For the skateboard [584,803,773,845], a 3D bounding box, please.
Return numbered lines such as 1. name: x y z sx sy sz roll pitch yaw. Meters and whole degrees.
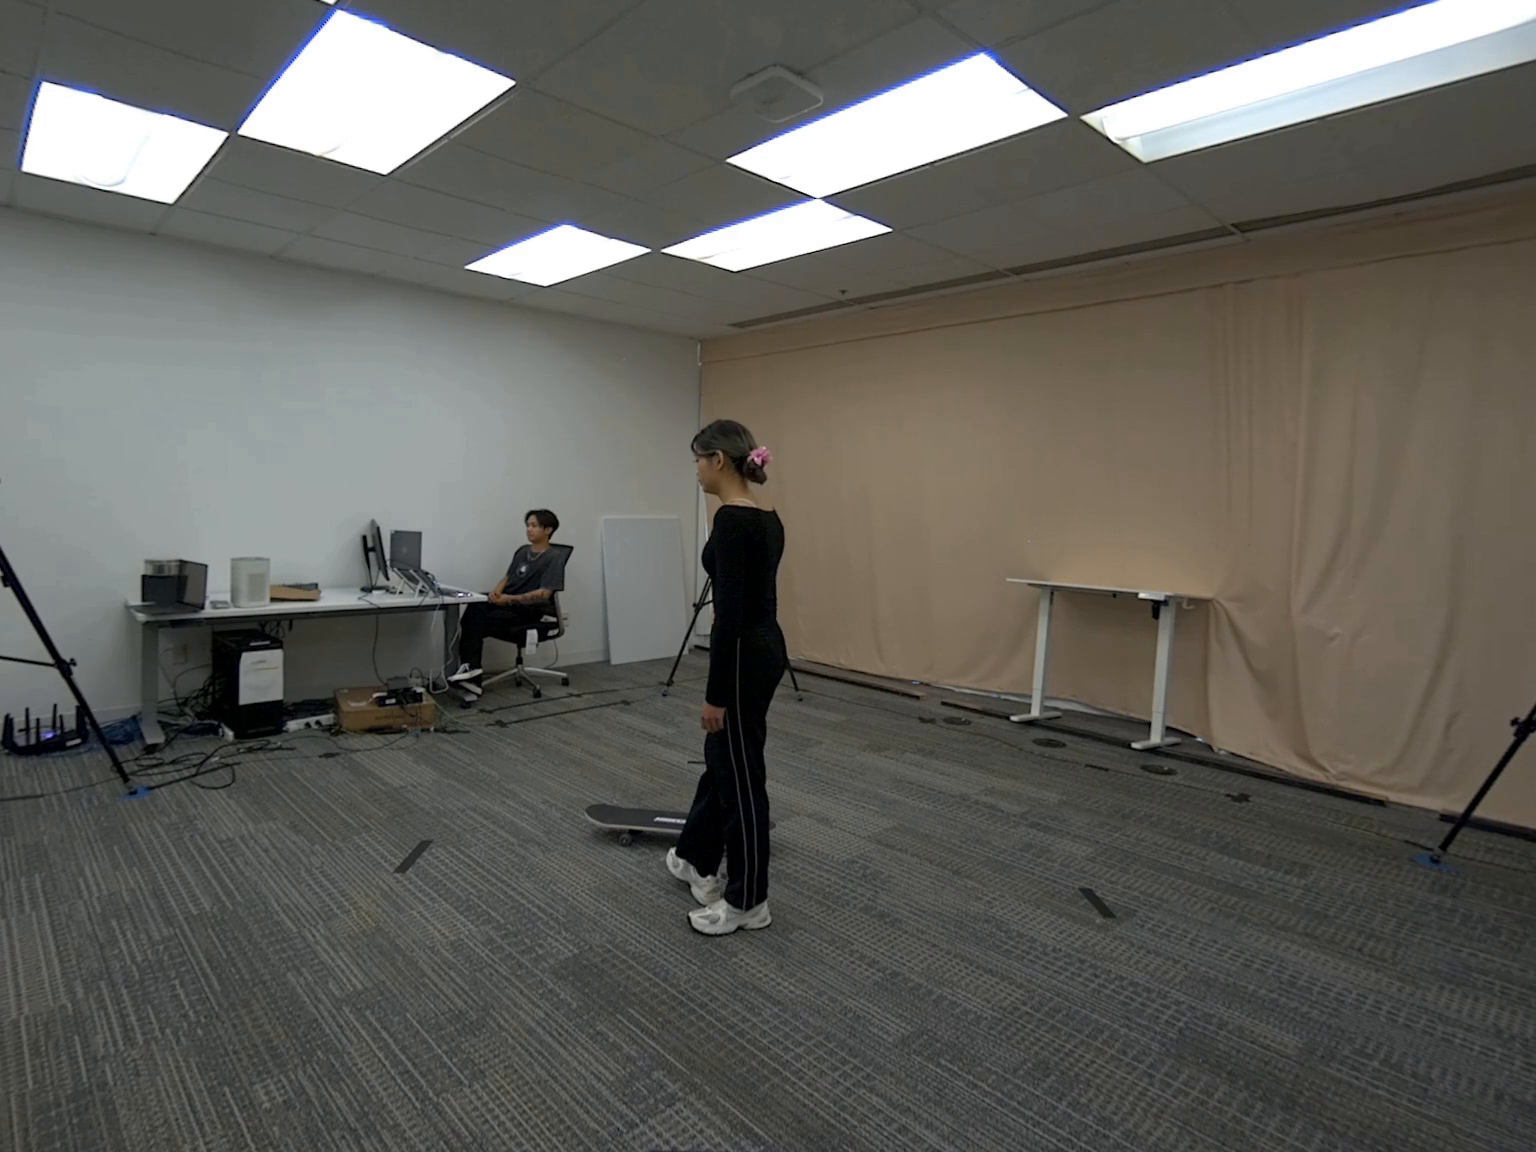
1. skateboard: -0.363 1.017 3.389 0.793 0.110 0.192 3 4 11
